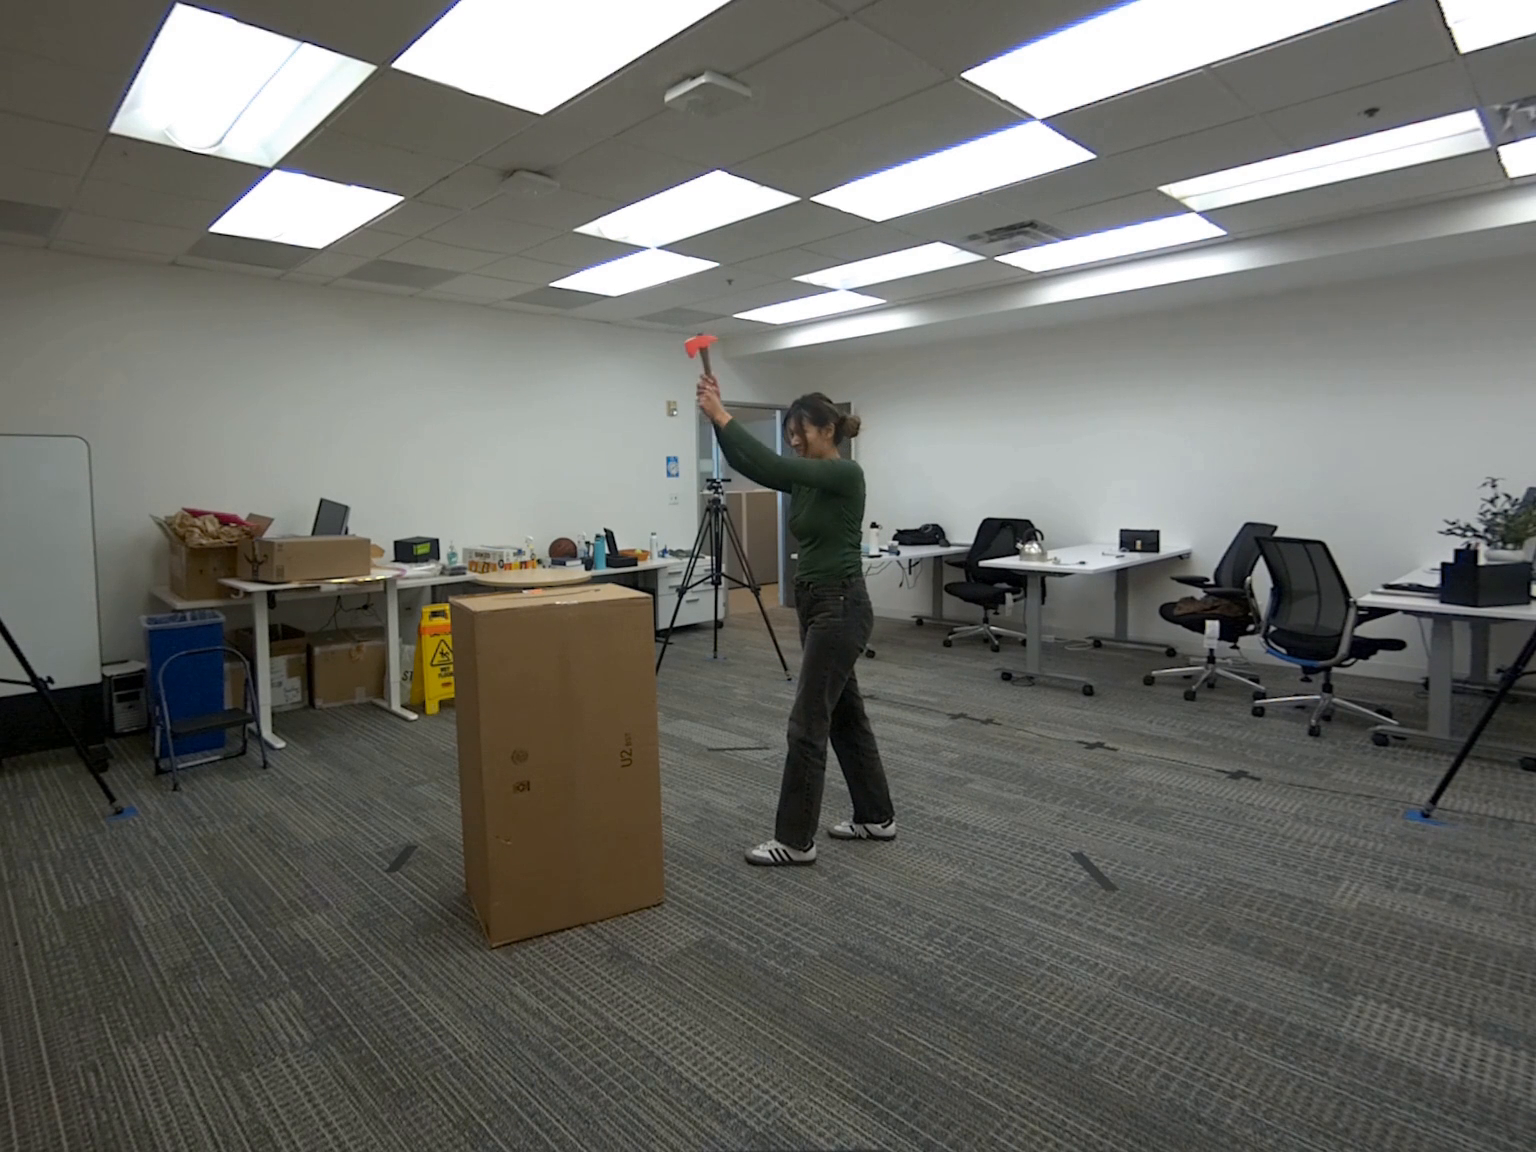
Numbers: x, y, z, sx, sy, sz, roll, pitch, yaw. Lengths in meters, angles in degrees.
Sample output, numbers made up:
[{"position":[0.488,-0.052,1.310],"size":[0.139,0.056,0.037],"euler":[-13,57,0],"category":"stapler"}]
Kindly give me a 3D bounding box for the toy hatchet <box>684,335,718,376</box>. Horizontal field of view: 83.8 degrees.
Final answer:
[{"position":[-0.233,-0.705,2.969],"size":[0.127,0.270,0.030],"euler":[4,-2,-30],"category":"toy hatchet"}]
